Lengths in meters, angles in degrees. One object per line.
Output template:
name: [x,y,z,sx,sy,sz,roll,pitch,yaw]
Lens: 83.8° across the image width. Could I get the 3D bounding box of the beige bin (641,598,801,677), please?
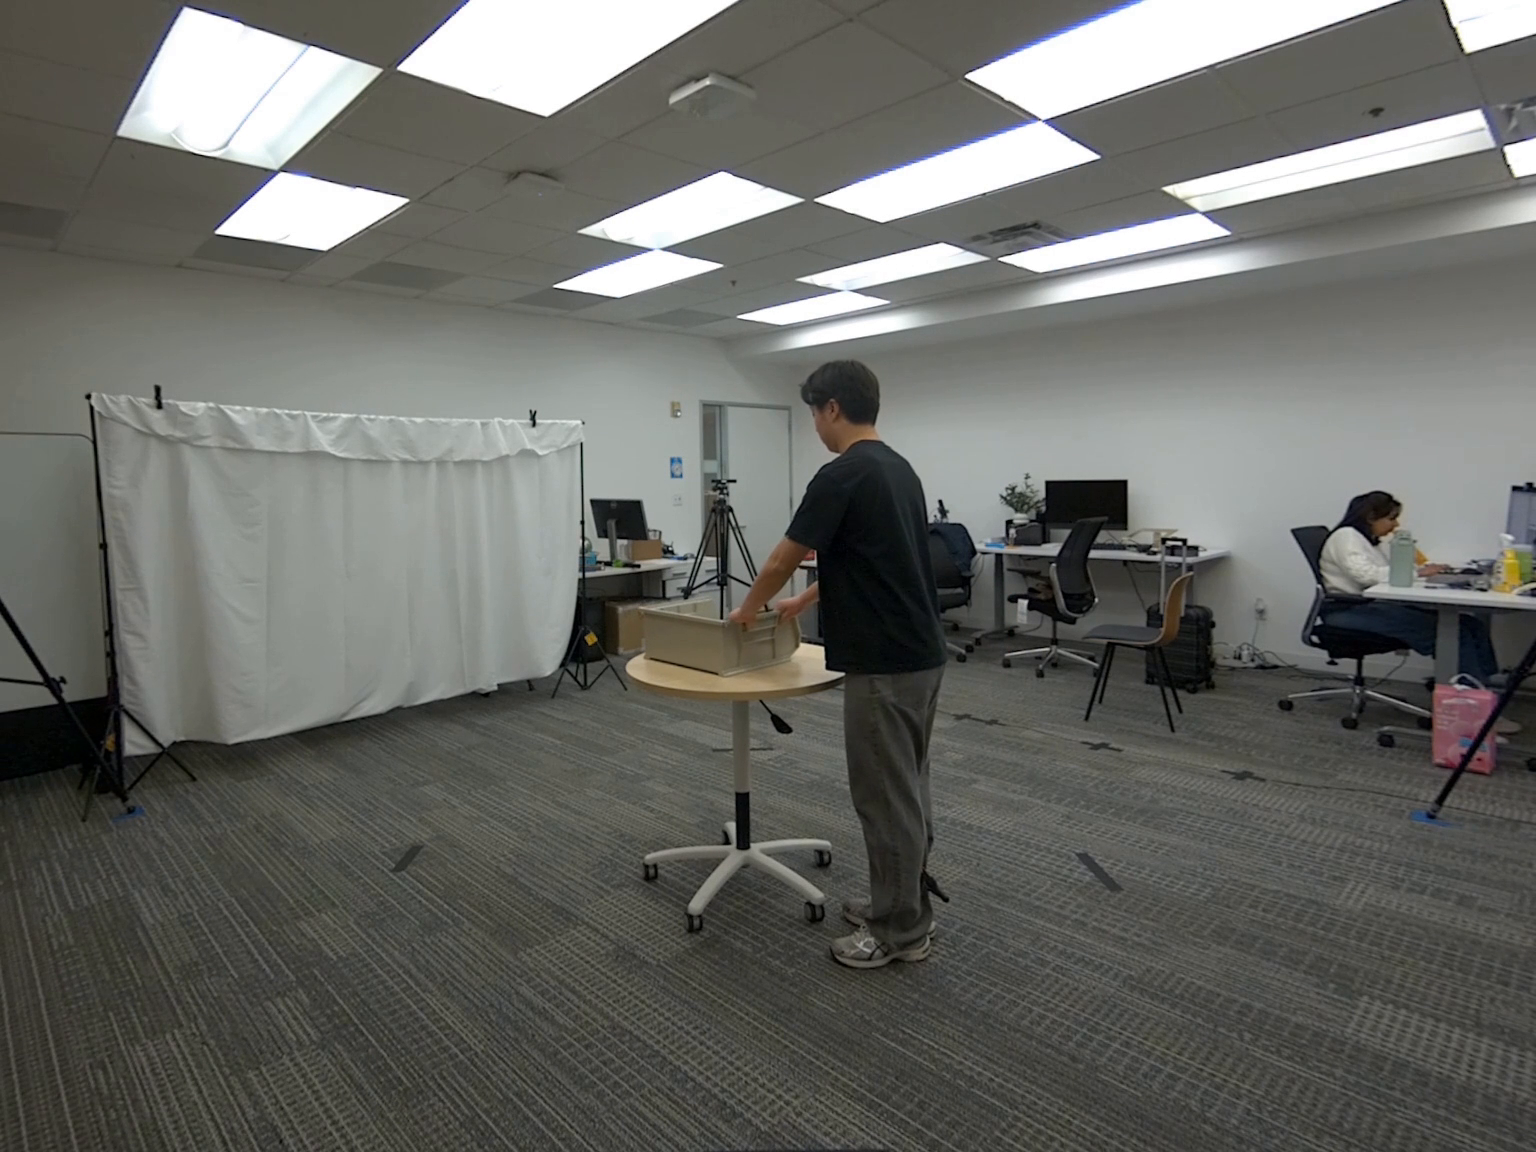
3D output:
beige bin: [-0.159,0.196,2.940,0.368,0.188,0.435,-9,10,-44]
